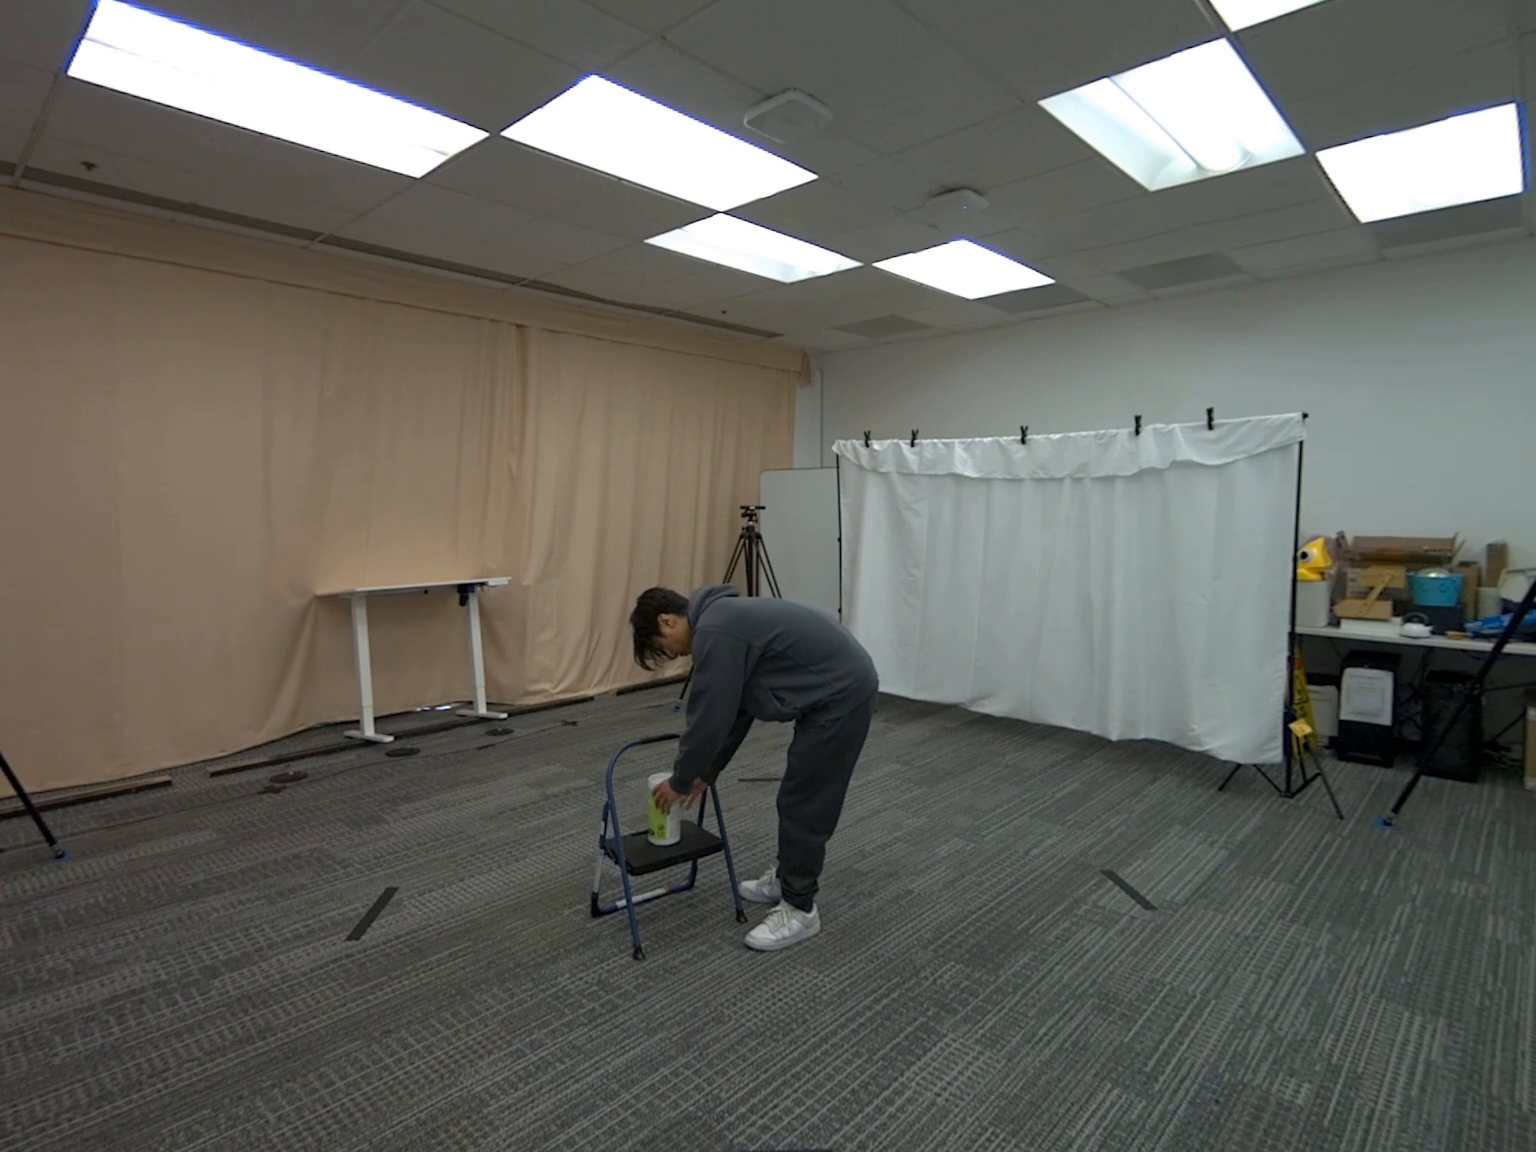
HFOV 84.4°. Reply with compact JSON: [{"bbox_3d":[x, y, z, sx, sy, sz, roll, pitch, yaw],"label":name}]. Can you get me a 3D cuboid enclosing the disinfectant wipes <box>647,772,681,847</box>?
[{"bbox_3d":[-0.350,0.795,2.852,0.118,0.217,0.118,0,2,-2],"label":"disinfectant wipes"}]
